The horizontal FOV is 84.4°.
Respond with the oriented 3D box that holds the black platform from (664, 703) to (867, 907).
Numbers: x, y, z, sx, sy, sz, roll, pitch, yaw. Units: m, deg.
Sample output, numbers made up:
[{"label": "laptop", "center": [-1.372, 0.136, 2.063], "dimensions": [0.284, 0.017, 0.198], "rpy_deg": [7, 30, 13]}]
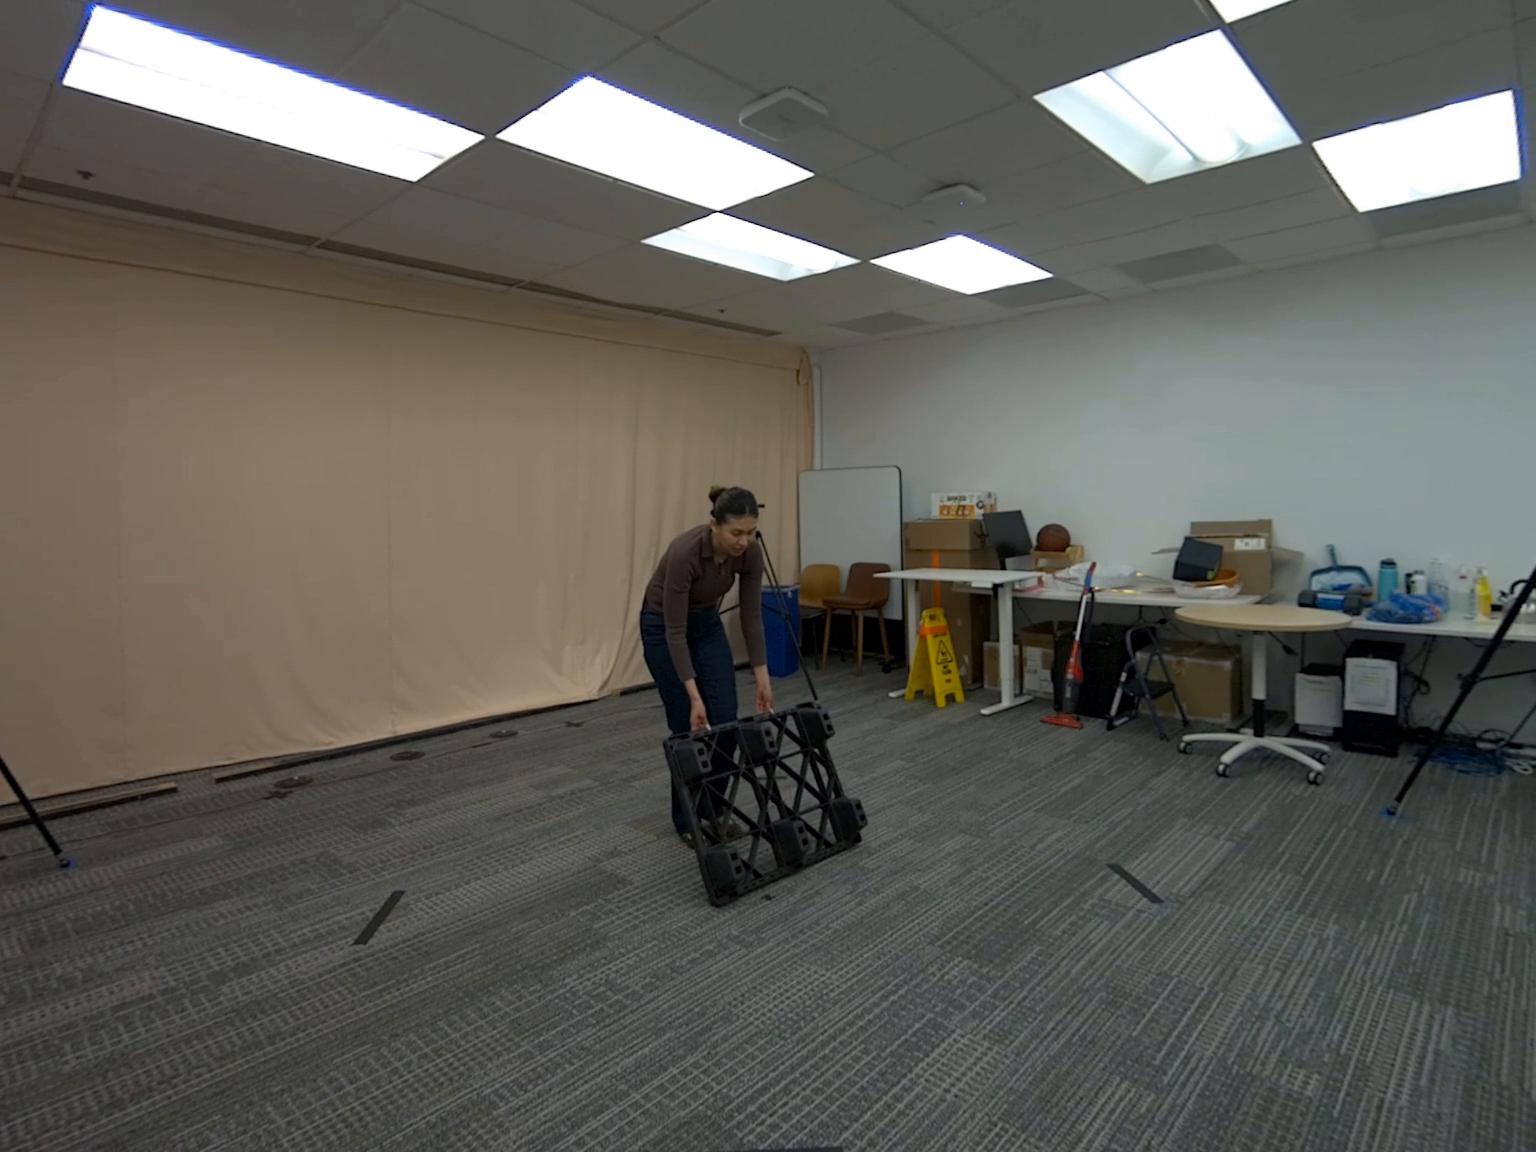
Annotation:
[{"label": "black platform", "center": [0.028, 0.822, 3.217], "dimensions": [0.781, 0.614, 0.145], "rpy_deg": [-5, -22, -43]}]
